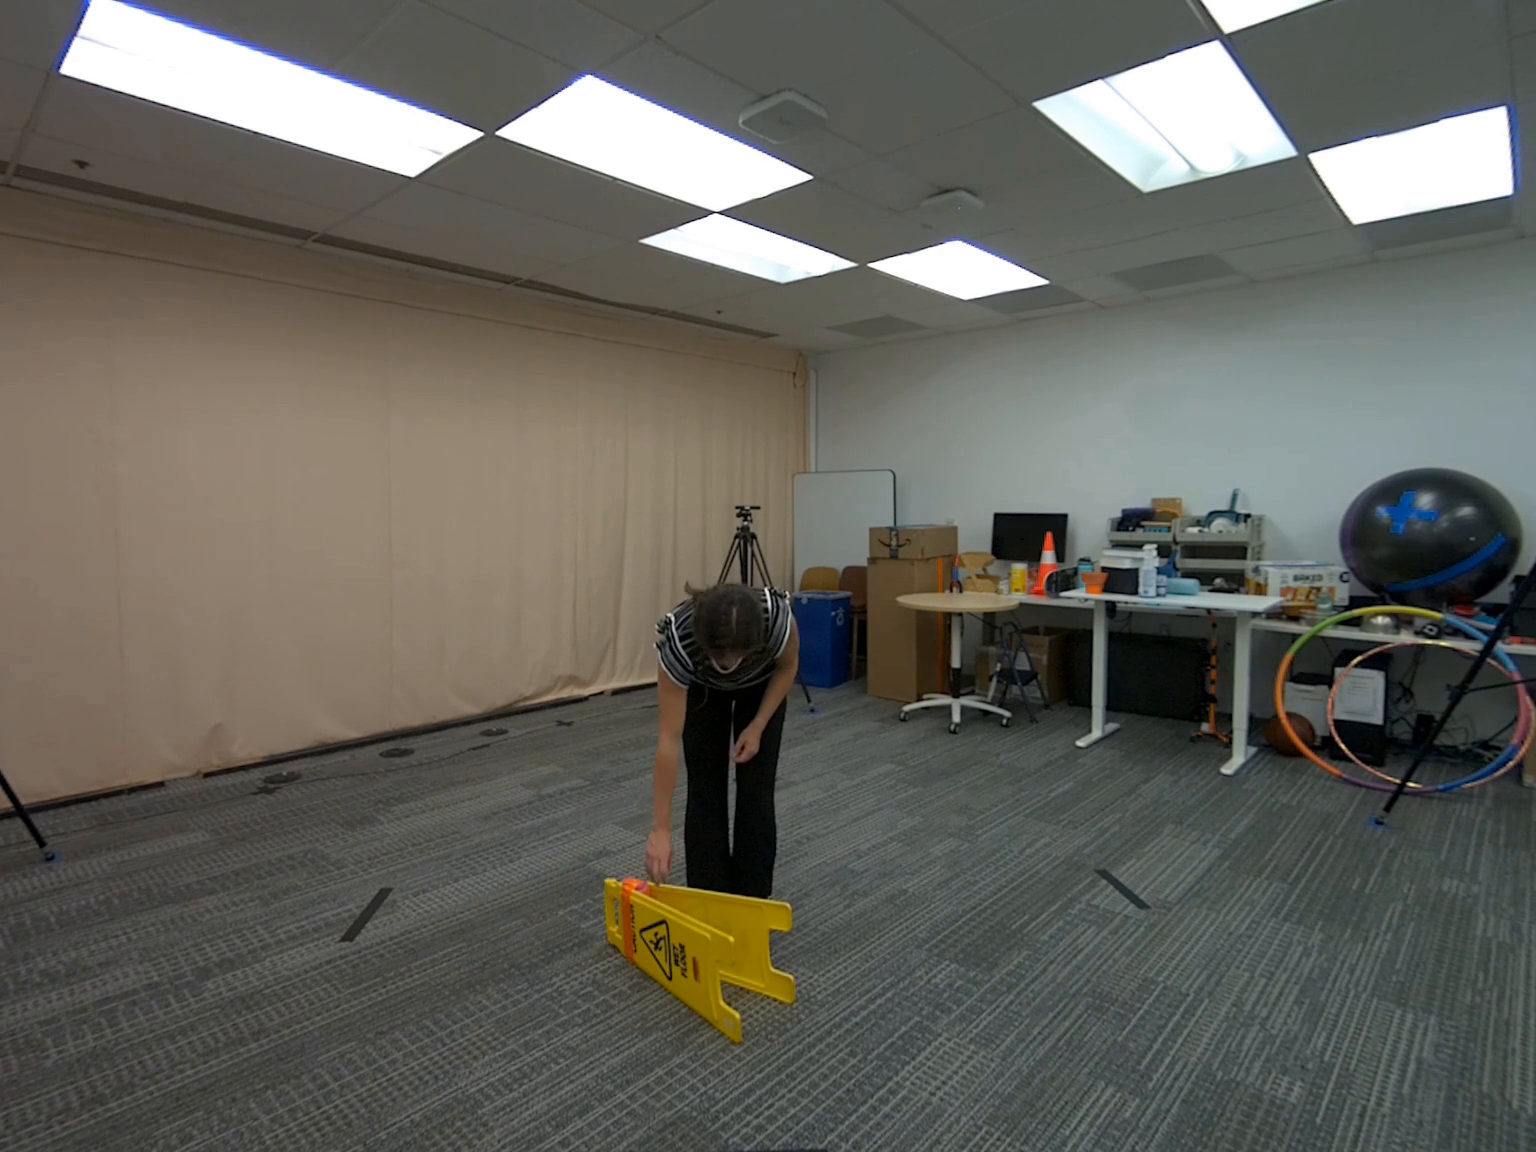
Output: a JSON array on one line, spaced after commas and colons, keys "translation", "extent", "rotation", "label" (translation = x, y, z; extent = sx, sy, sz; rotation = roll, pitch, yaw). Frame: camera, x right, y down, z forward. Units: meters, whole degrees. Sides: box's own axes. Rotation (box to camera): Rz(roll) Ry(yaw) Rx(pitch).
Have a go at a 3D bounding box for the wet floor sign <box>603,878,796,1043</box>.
[{"translation": [-0.258, 1.062, 2.473], "extent": [0.666, 0.282, 0.281], "rotation": [-1, 3, 38], "label": "wet floor sign"}]
